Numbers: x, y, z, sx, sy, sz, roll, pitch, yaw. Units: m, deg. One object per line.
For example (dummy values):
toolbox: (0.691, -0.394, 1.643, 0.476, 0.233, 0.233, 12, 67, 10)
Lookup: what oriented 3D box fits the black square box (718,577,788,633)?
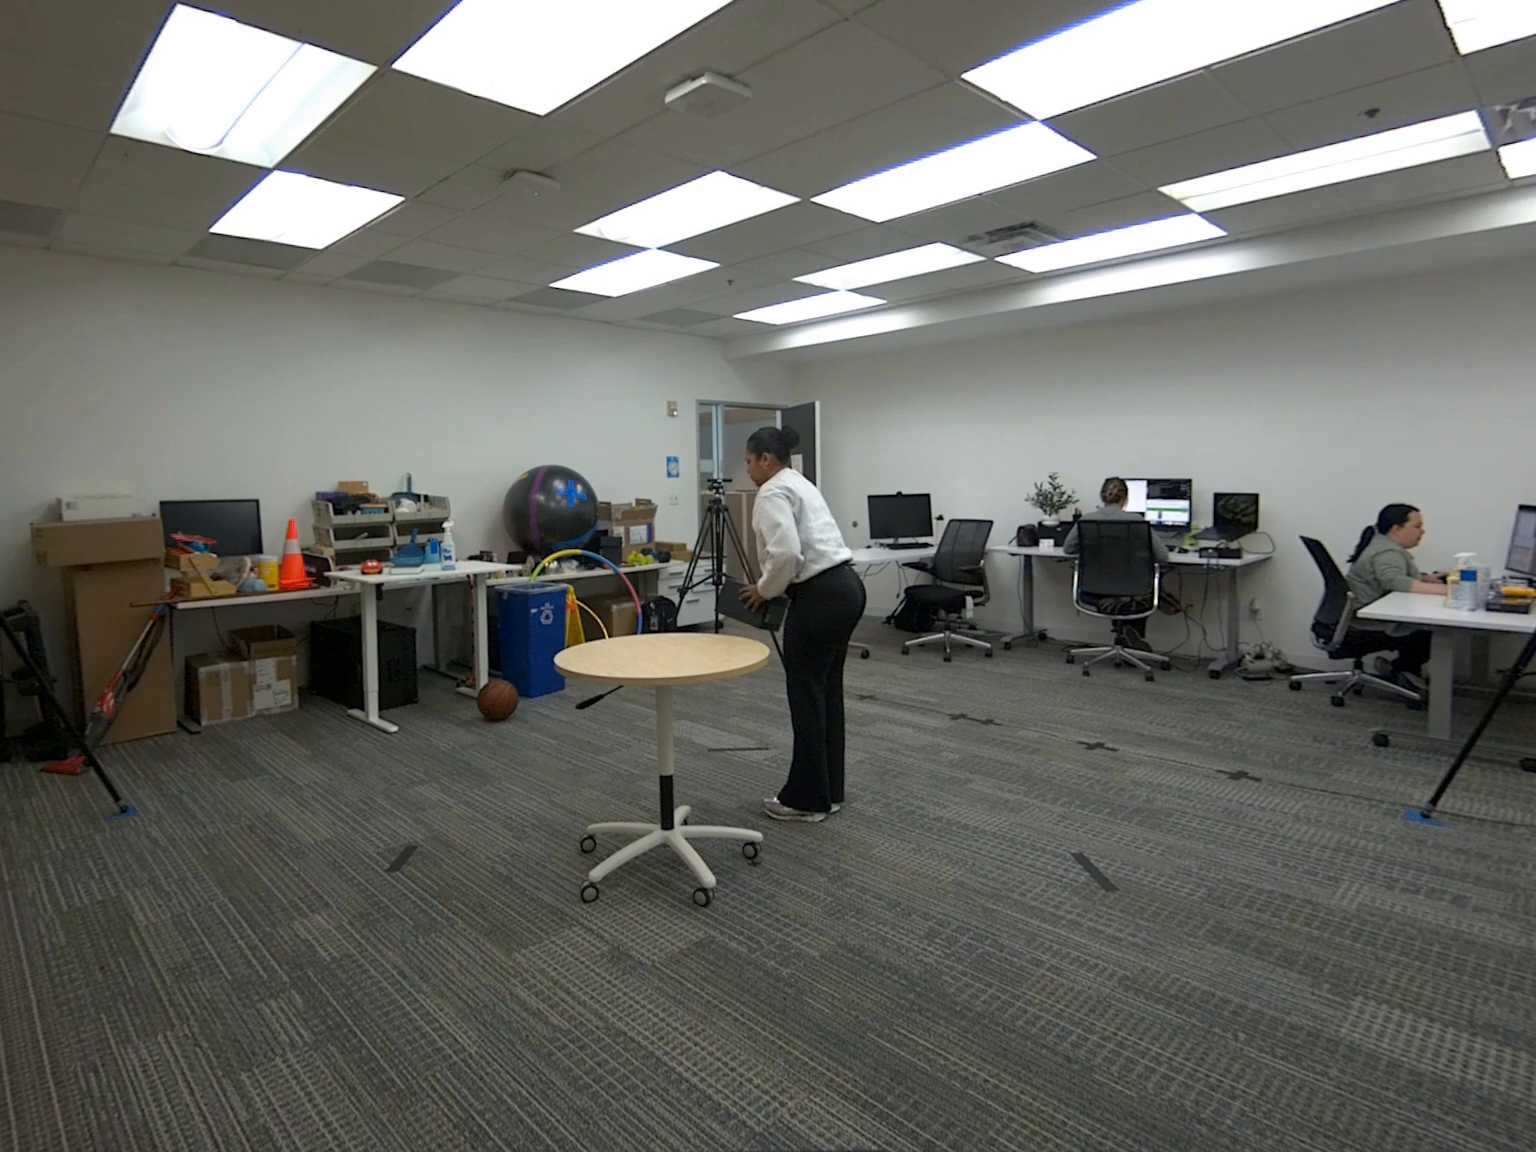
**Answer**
black square box: (-0.071, 0.132, 3.707, 0.234, 0.156, 0.211, 19, 2, 24)
